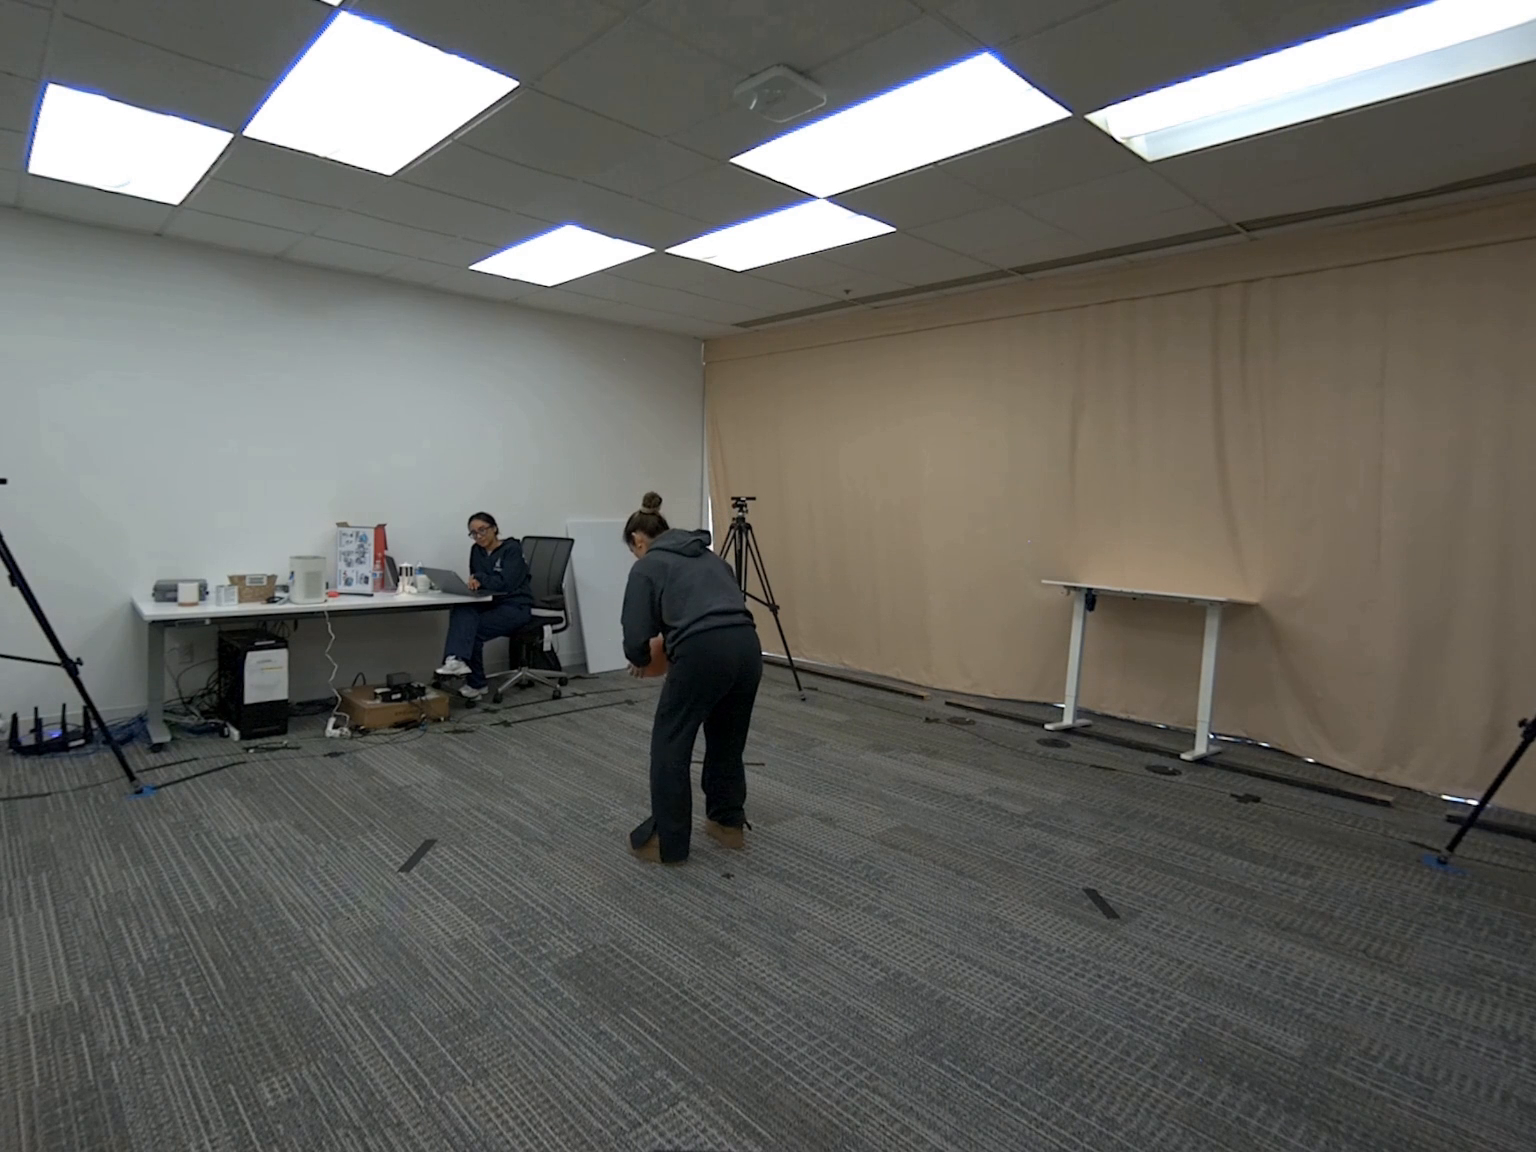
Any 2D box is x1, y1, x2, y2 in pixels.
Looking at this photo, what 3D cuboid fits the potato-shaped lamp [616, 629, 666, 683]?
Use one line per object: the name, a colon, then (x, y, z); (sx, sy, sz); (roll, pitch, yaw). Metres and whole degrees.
potato-shaped lamp: (-0.516, 0.328, 3.550); (0.161, 0.198, 0.176); (2, 1, -45)
